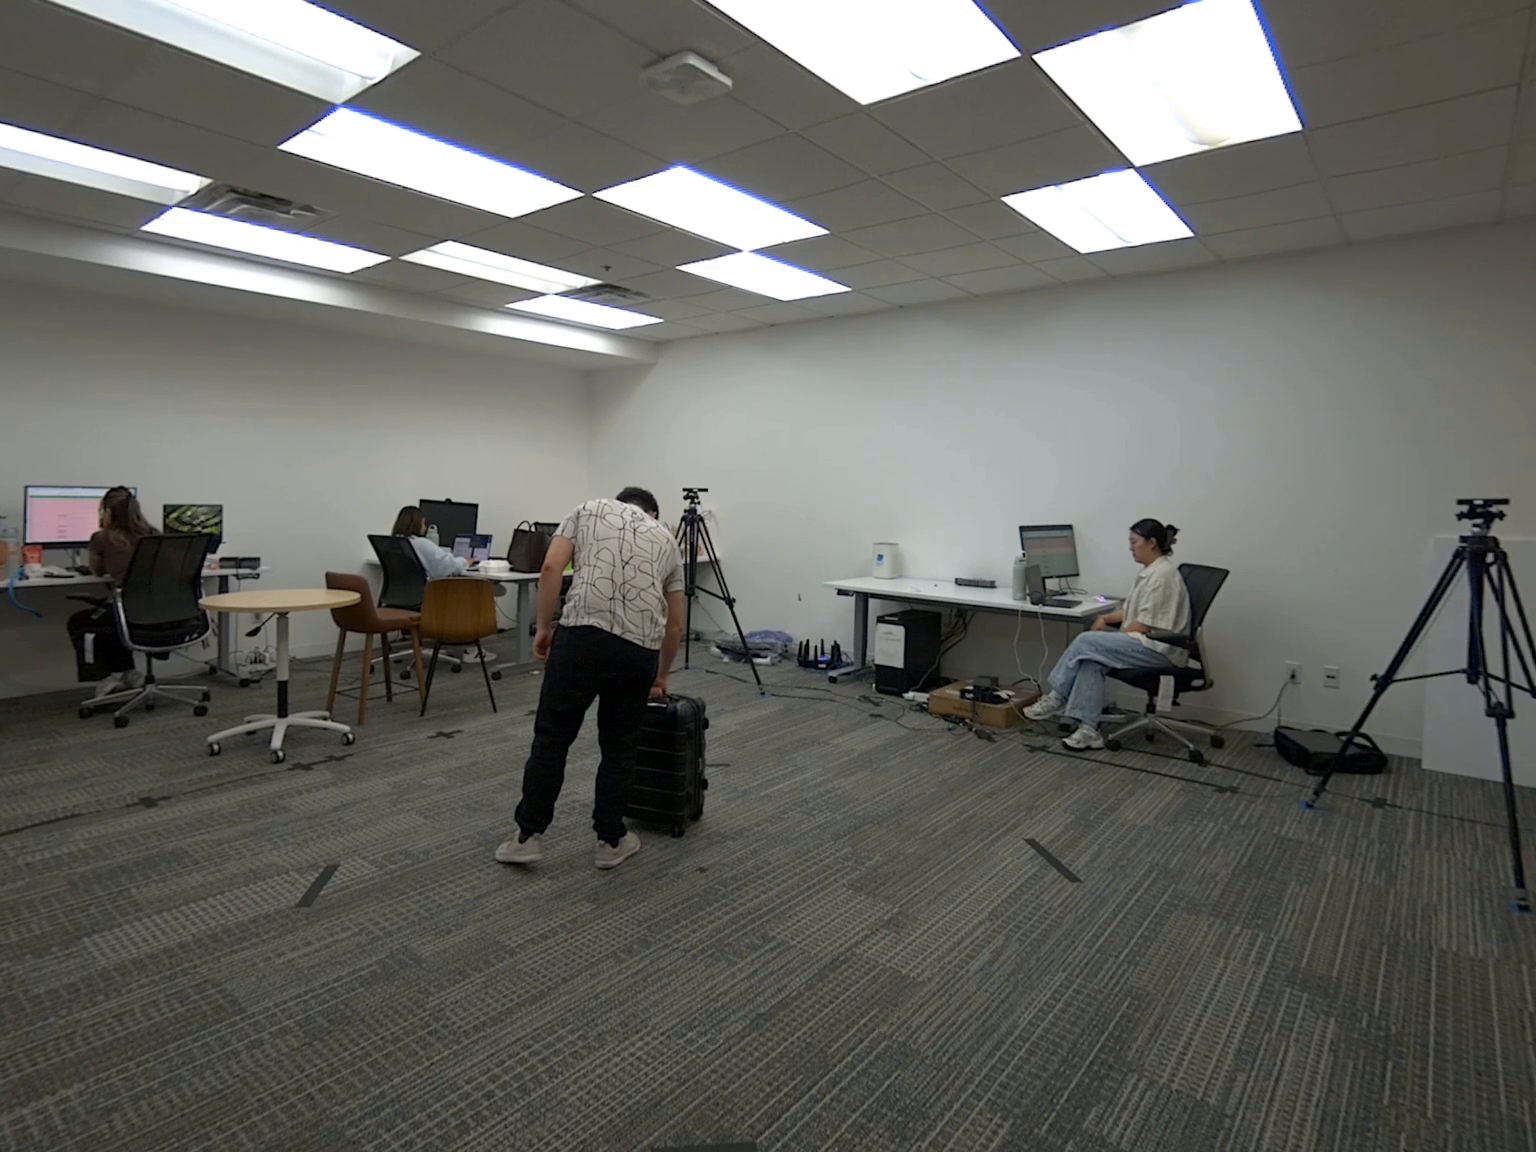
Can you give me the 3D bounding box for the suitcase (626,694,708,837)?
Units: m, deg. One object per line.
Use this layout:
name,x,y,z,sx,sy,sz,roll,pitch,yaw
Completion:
suitcase,-0.463,0.748,3.526,0.384,0.548,0.243,3,3,20
